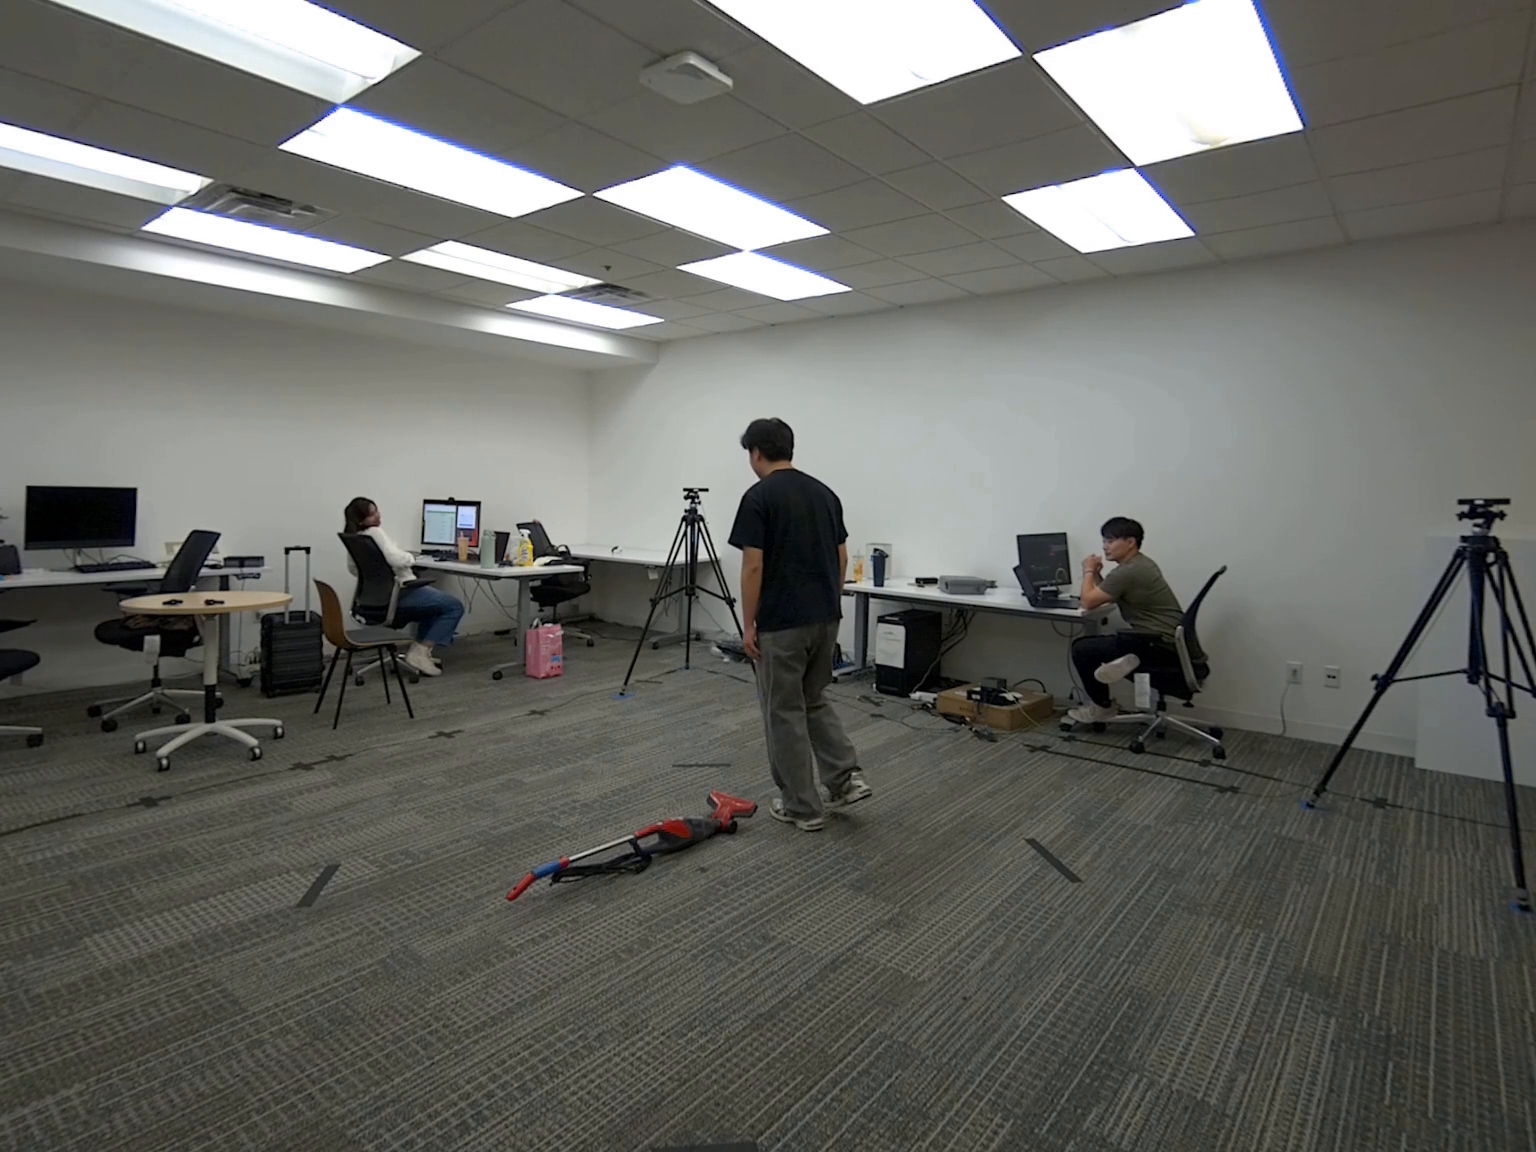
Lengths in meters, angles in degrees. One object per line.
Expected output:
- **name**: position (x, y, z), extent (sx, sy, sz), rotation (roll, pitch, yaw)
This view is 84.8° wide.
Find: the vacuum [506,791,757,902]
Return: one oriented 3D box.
- **vacuum**: position (-0.502, 1.009, 3.126), extent (0.261, 0.143, 1.018), rotation (4, 6, 41)
